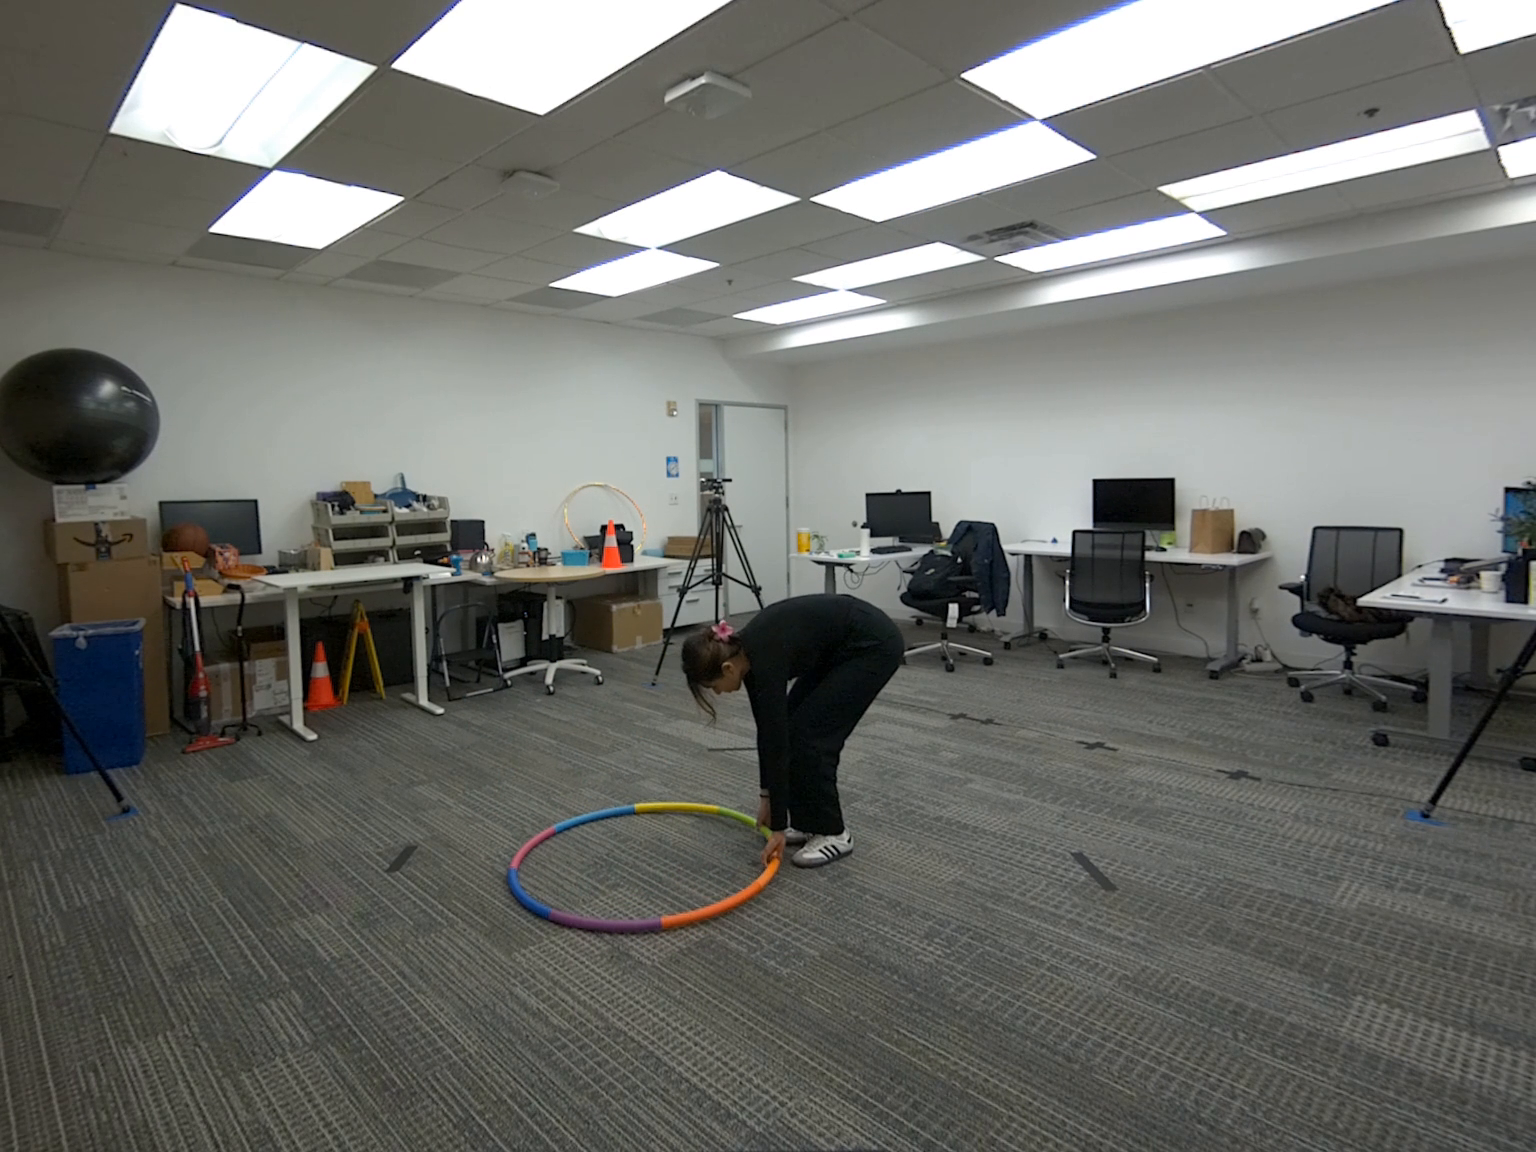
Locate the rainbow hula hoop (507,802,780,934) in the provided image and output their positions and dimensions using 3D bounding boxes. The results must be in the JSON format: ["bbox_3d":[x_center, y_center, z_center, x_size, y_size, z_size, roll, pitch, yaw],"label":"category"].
[{"bbox_3d":[-0.448,1.010,3.123,0.978,0.035,0.984,-3,7,-1],"label":"rainbow hula hoop"}]
